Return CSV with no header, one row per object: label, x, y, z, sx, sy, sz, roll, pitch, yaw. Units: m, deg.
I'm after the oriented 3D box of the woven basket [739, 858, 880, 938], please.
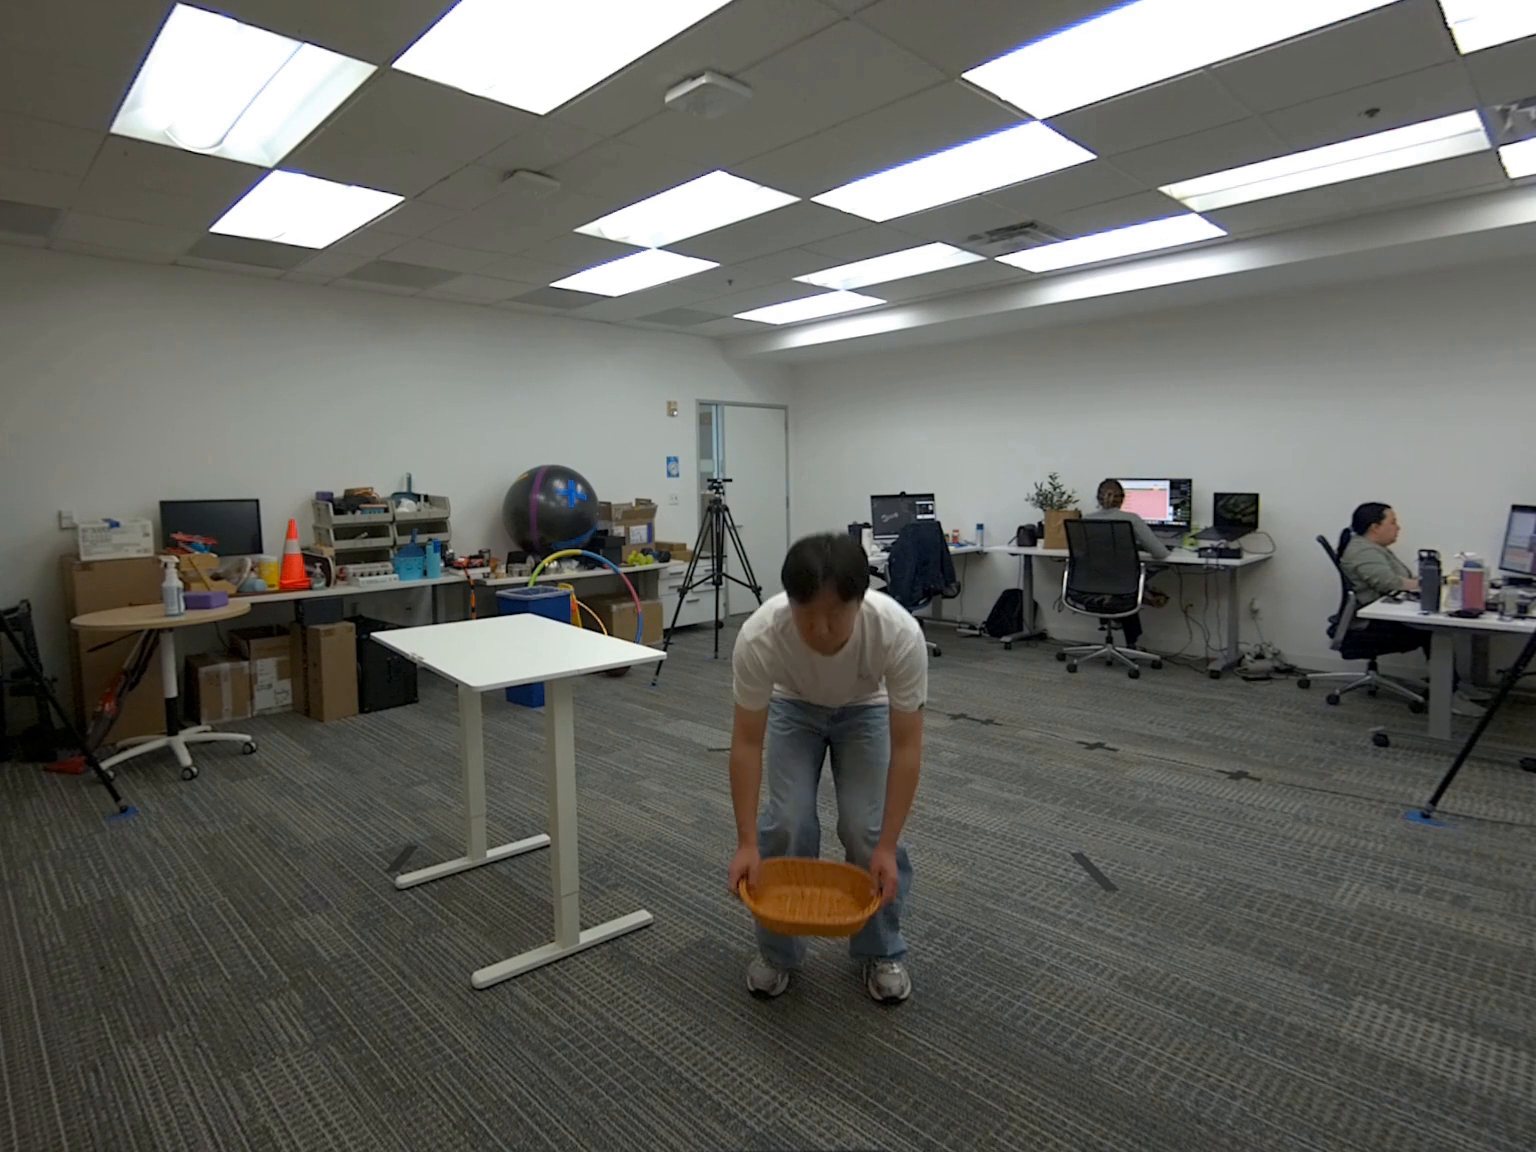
woven basket,0.107,0.792,2.109,0.353,0.072,0.253,1,14,8
